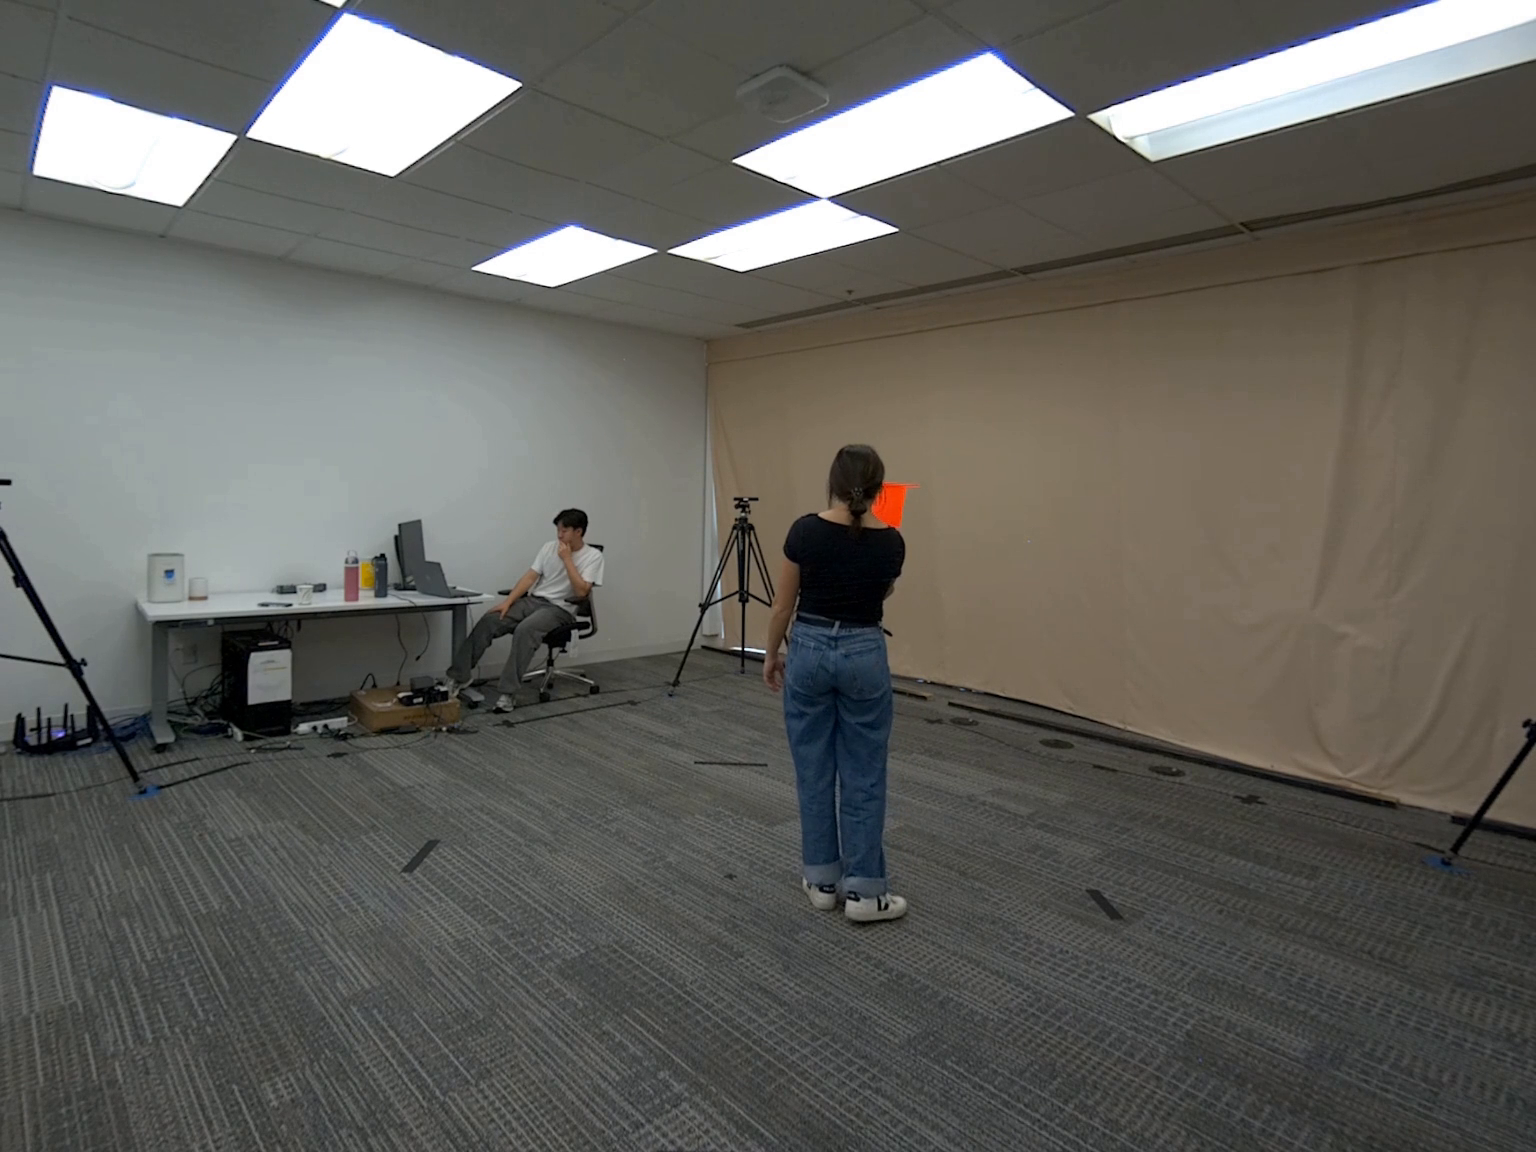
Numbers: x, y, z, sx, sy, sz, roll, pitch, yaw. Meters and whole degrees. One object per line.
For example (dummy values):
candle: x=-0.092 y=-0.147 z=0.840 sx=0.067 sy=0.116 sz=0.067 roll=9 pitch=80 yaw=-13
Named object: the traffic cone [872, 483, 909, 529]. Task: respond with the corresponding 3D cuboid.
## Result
traffic cone: x=0.469 y=-0.170 z=3.385 sx=0.205 sy=0.384 sz=0.203 roll=3 pitch=0 yaw=0
